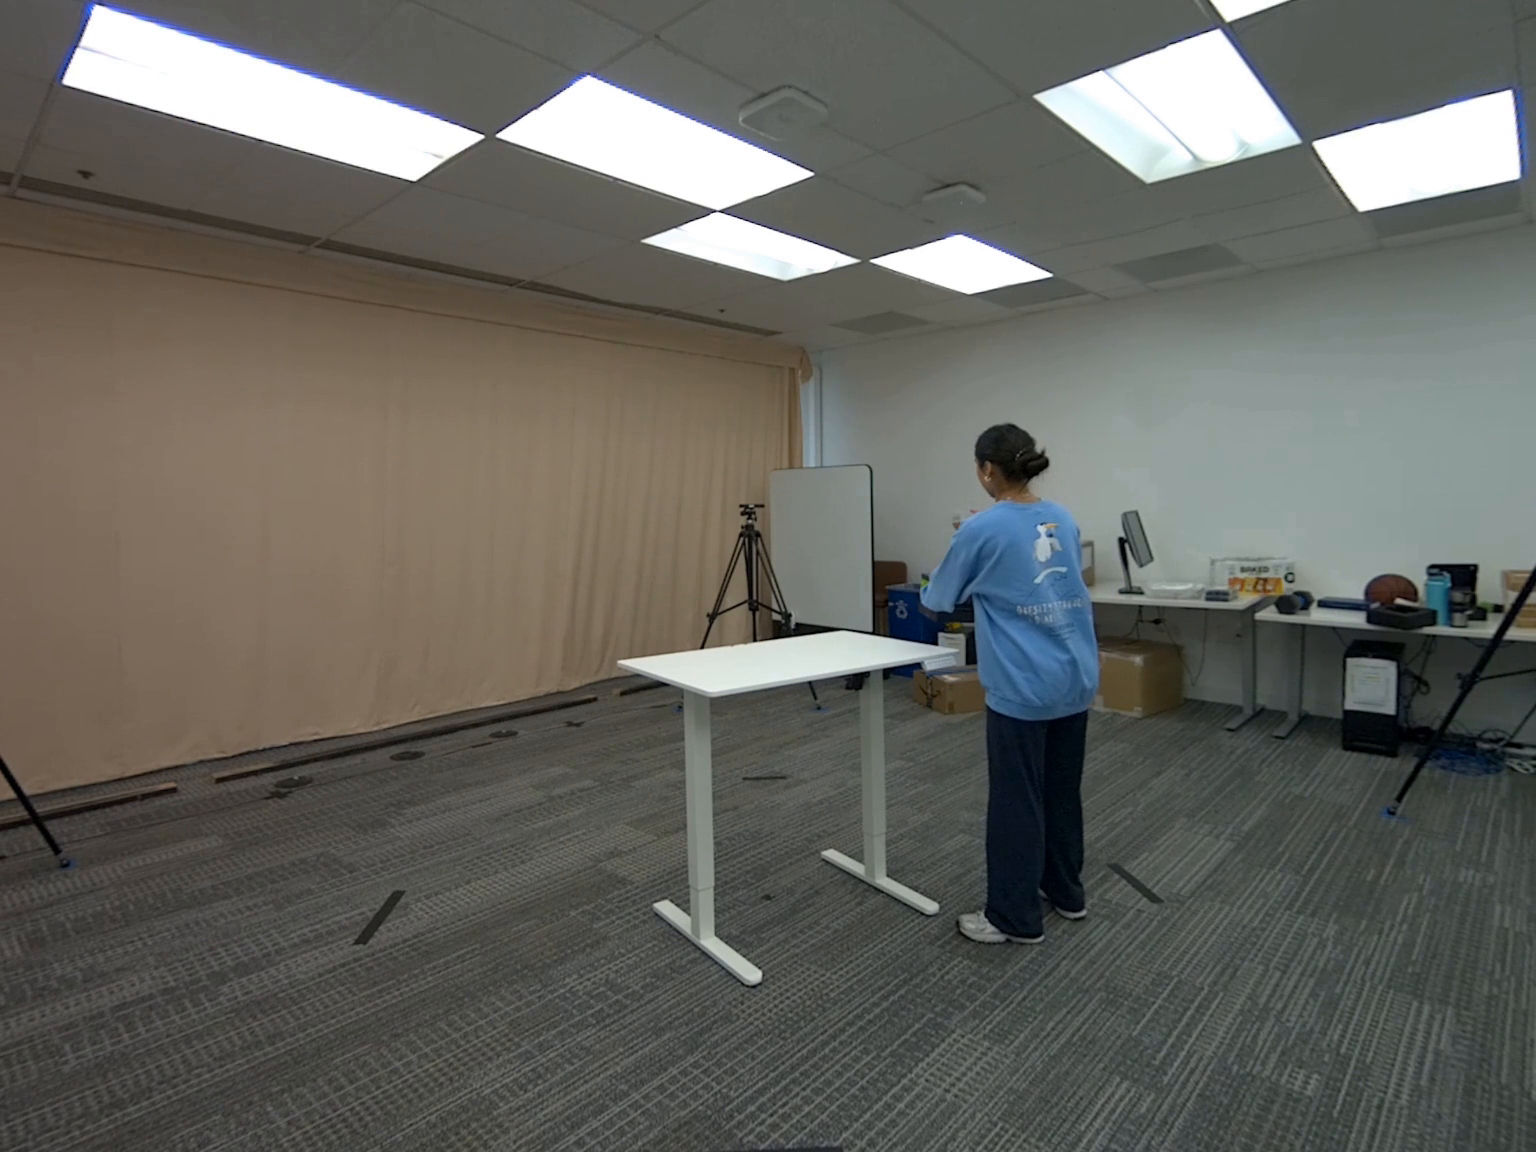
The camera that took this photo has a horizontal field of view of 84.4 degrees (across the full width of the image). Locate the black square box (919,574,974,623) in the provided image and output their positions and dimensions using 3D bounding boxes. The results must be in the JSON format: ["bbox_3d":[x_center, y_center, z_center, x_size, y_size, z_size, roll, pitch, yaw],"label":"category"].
[{"bbox_3d":[0.724,0.080,3.257,0.215,0.155,0.230,0,7,-7],"label":"black square box"}]
